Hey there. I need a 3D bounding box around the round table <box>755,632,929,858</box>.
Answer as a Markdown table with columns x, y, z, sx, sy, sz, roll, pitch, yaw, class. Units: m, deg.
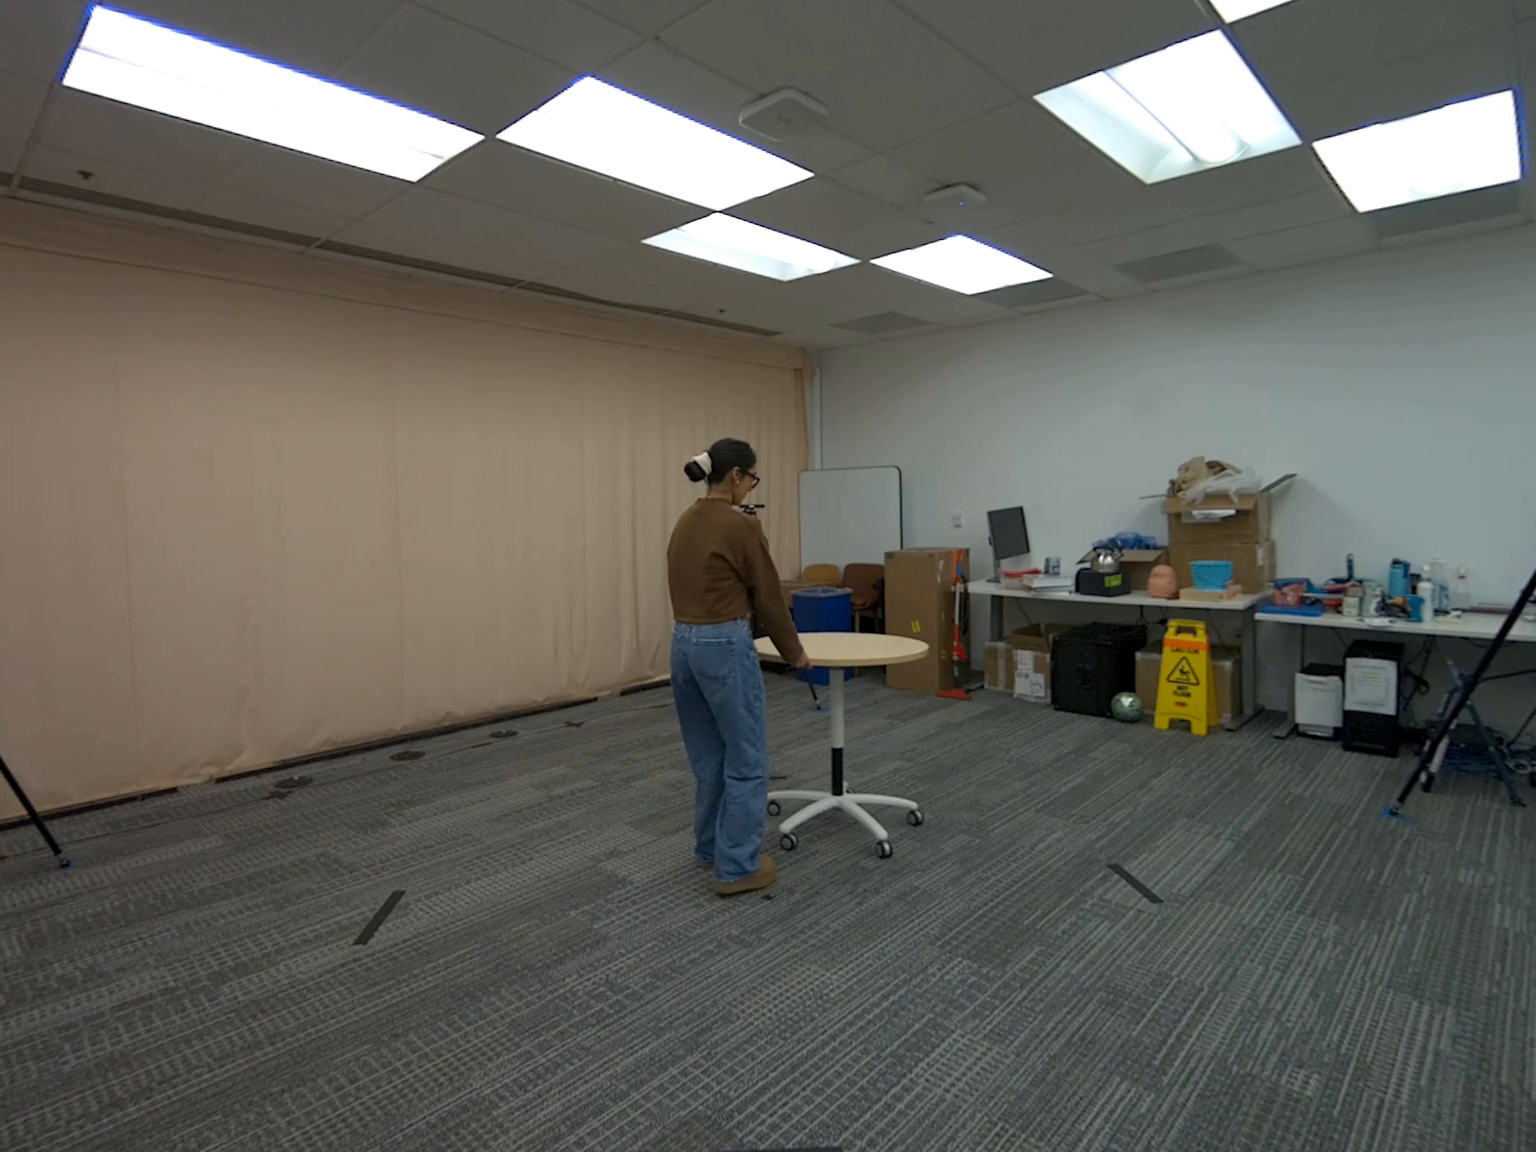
| x | y | z | sx | sy | sz | roll | pitch | yaw | class |
| --- | --- | --- | --- | --- | --- | --- | --- | --- | --- |
| 0.299 | 0.686 | 3.583 | 0.784 | 0.785 | 0.787 | -1 | 2 | -2 | round table |
